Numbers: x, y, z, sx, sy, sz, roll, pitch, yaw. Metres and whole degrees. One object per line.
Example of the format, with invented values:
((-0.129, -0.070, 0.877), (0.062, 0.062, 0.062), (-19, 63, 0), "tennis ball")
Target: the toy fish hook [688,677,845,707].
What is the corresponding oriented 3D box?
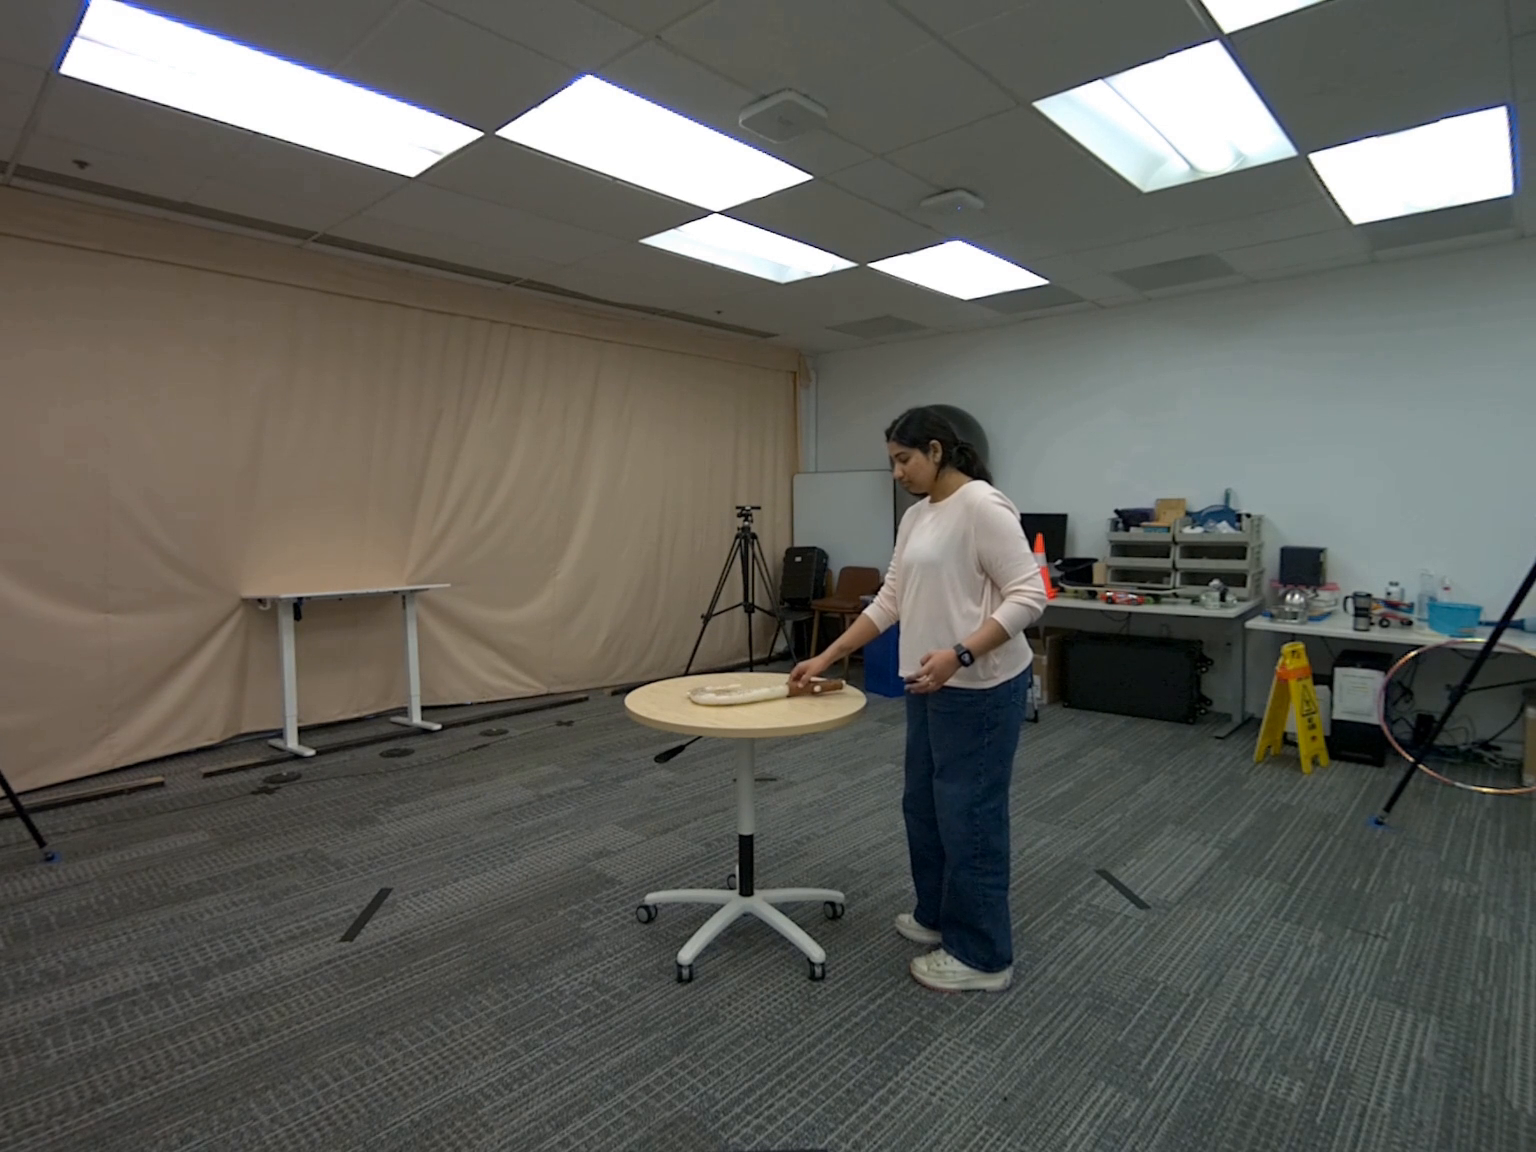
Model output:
((-0.002, 0.370, 2.690), (0.499, 0.048, 0.229), (-2, 6, -14), "toy fish hook")
